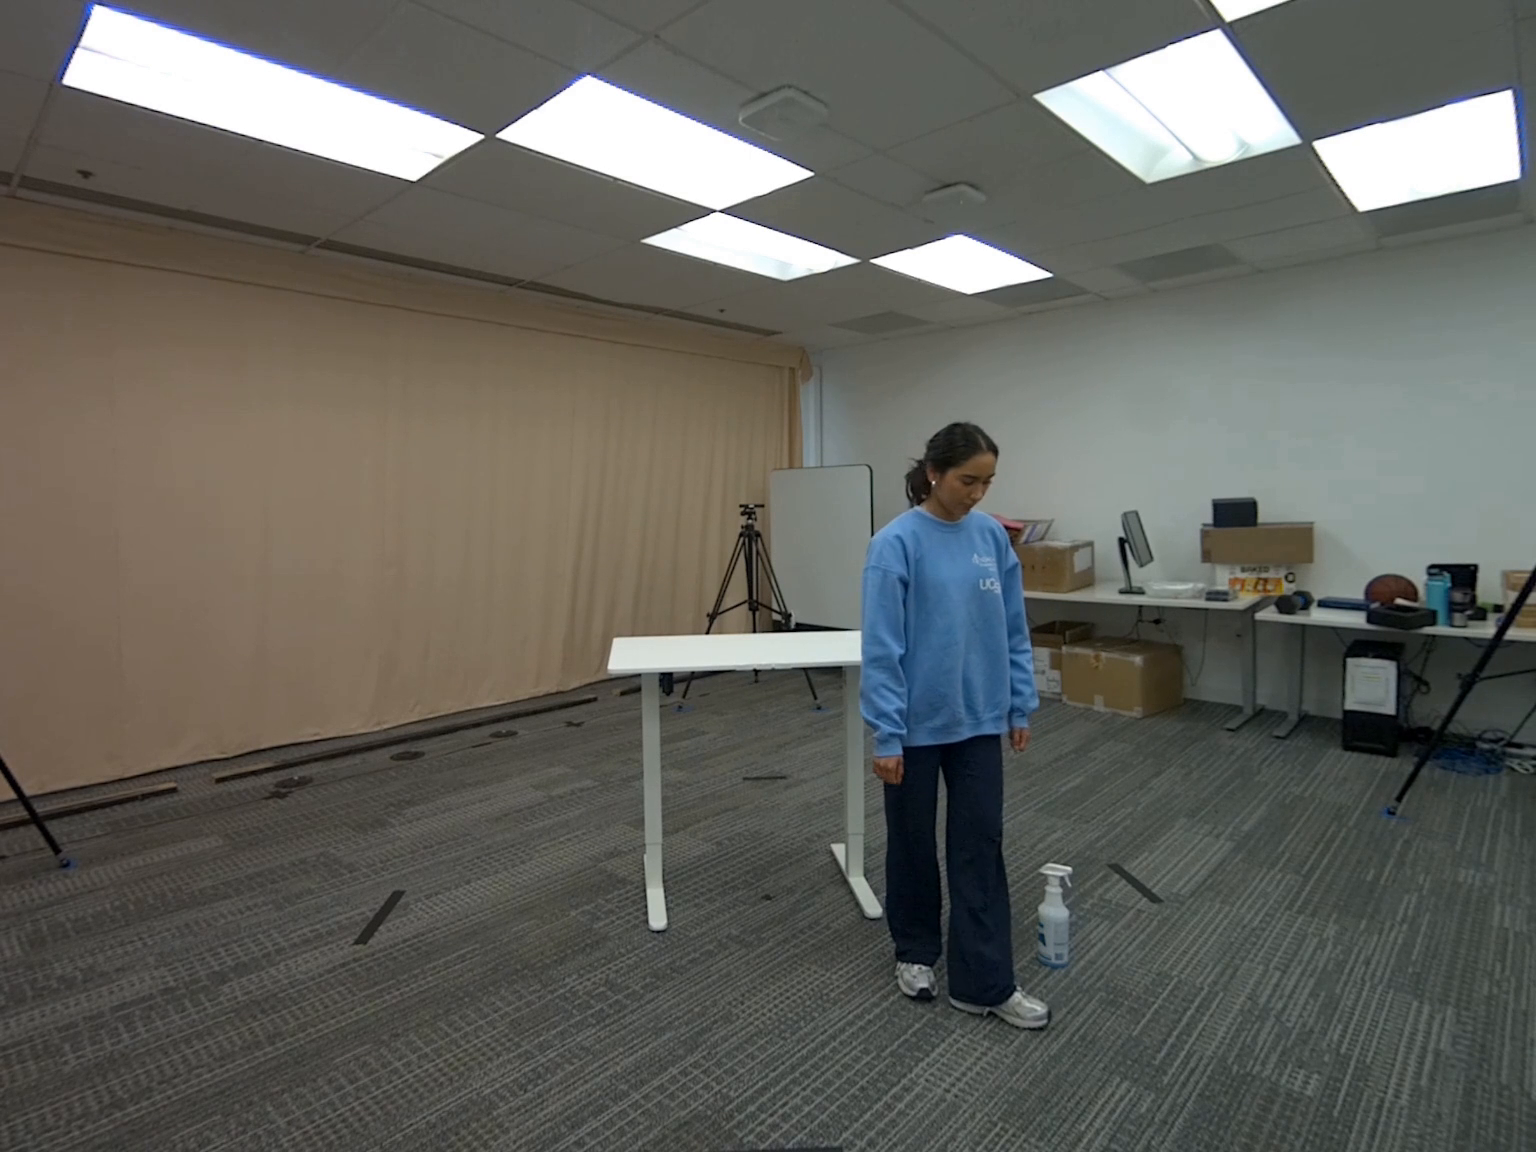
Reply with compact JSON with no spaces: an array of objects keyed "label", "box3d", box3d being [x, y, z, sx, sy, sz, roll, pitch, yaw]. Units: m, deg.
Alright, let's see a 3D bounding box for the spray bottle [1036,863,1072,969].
[{"label":"spray bottle","box3d":[0.862,1.017,2.533,0.085,0.296,0.093,-3,4,-30]}]
